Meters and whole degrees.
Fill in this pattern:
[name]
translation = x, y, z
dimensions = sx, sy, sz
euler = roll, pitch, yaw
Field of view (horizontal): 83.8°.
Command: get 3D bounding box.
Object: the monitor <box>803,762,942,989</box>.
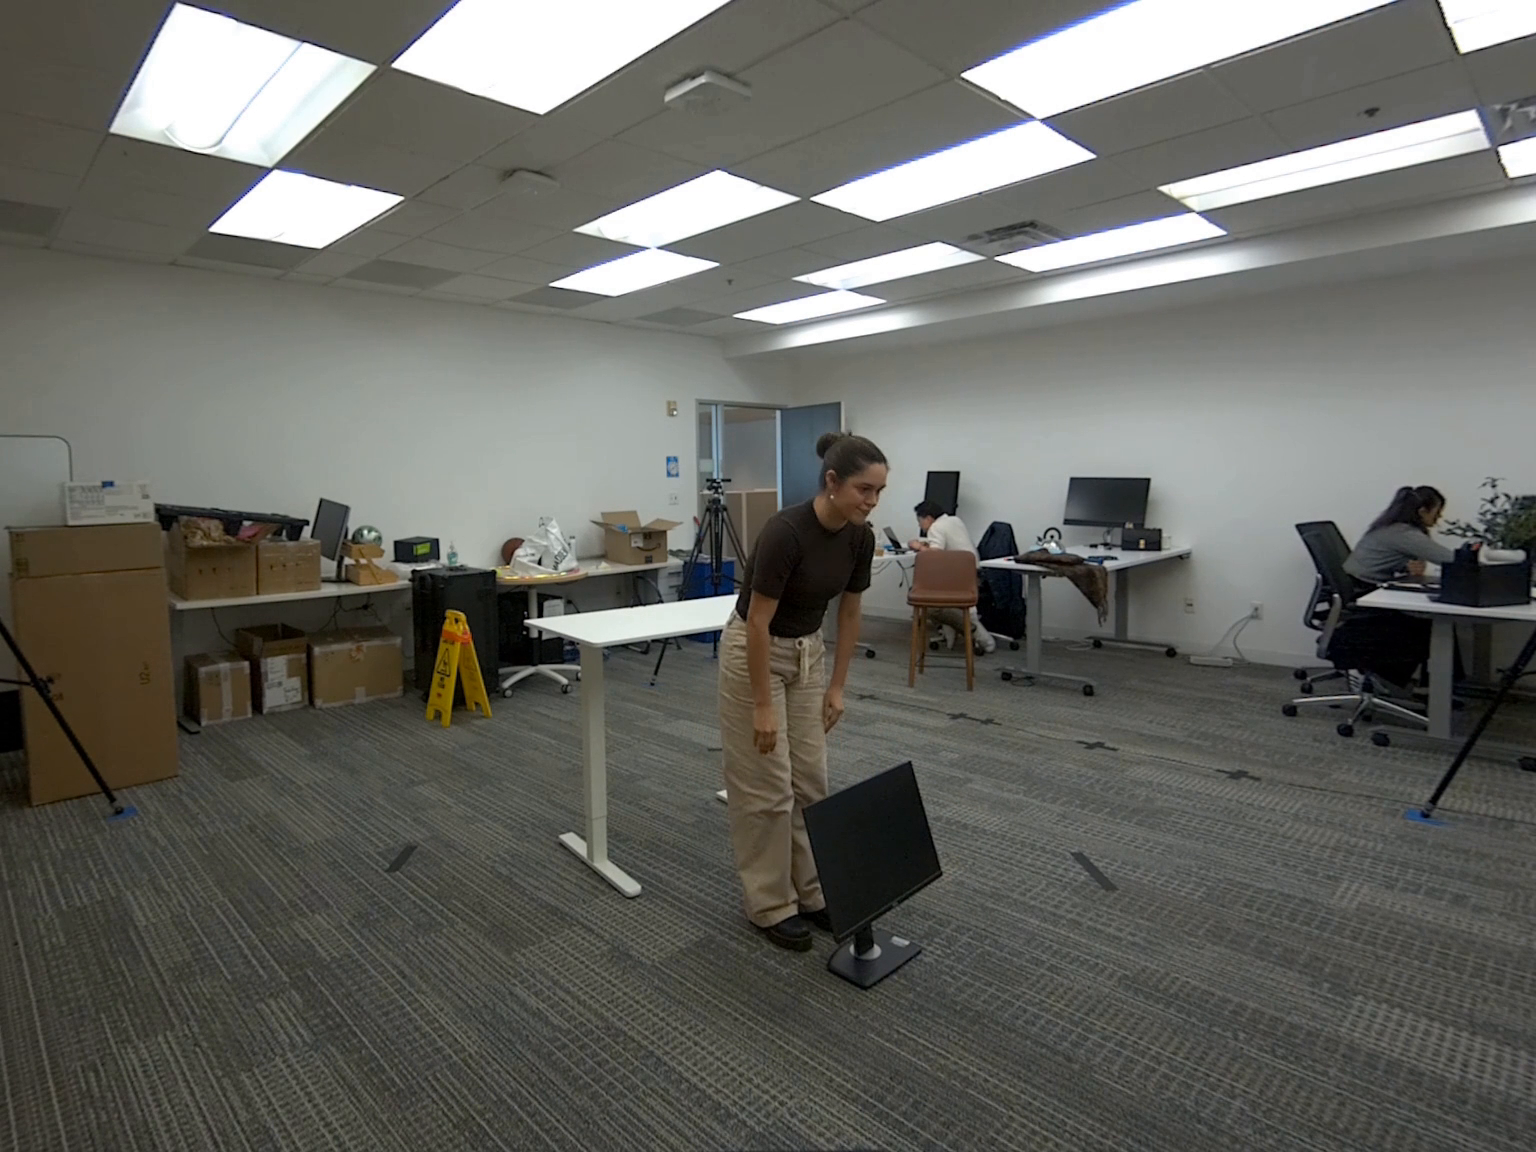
[monitor]
translation = 0.294, 0.857, 2.468
dimensions = 0.192, 0.522, 0.525
euler = -1, 3, 40
